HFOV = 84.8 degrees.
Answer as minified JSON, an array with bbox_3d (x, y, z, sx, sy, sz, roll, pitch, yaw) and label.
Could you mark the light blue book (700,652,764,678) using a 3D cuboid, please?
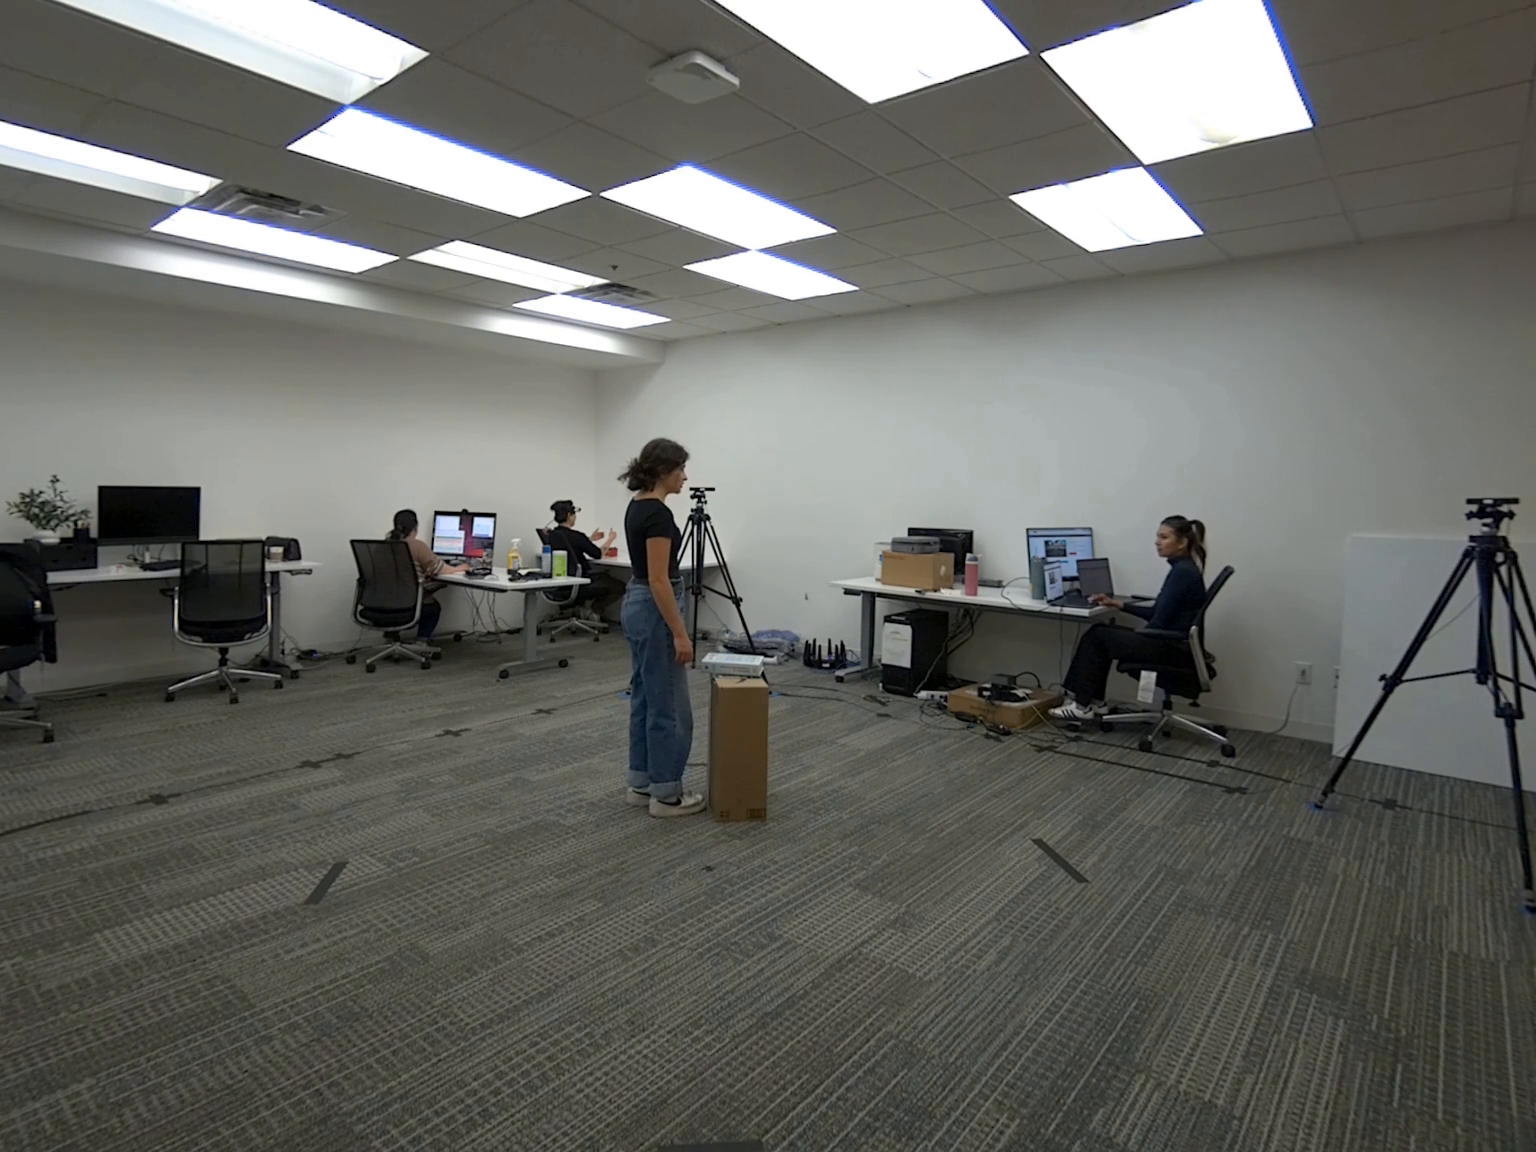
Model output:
[{"bbox_3d":[-0.175,0.401,3.872,0.263,0.059,0.190,2,6,7],"label":"light blue book"}]
